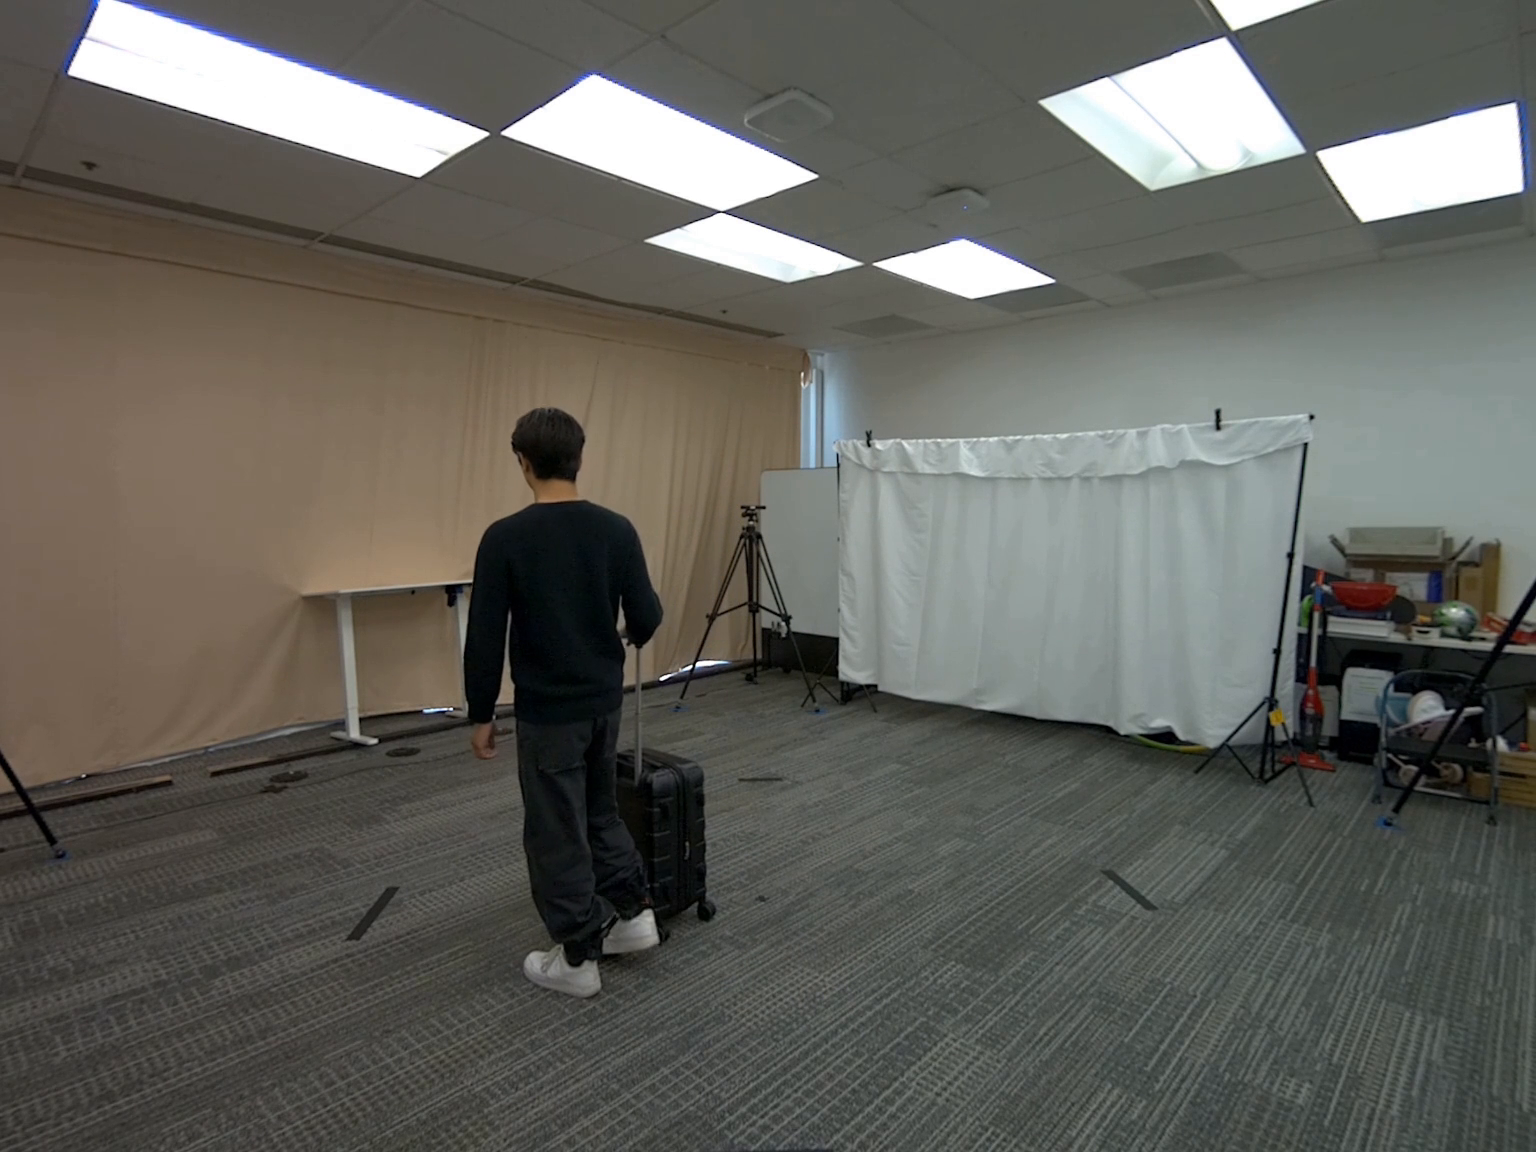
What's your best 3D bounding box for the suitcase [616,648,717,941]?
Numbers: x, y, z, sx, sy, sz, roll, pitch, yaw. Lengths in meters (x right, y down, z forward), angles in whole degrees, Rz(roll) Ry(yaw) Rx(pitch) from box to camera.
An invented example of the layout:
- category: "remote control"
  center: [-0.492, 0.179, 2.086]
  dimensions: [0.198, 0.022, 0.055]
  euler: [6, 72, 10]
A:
- category: "suitcase"
  center: [-0.402, 0.681, 2.871]
  dimensions: [0.396, 0.979, 0.249]
  euler: [0, -1, 43]
